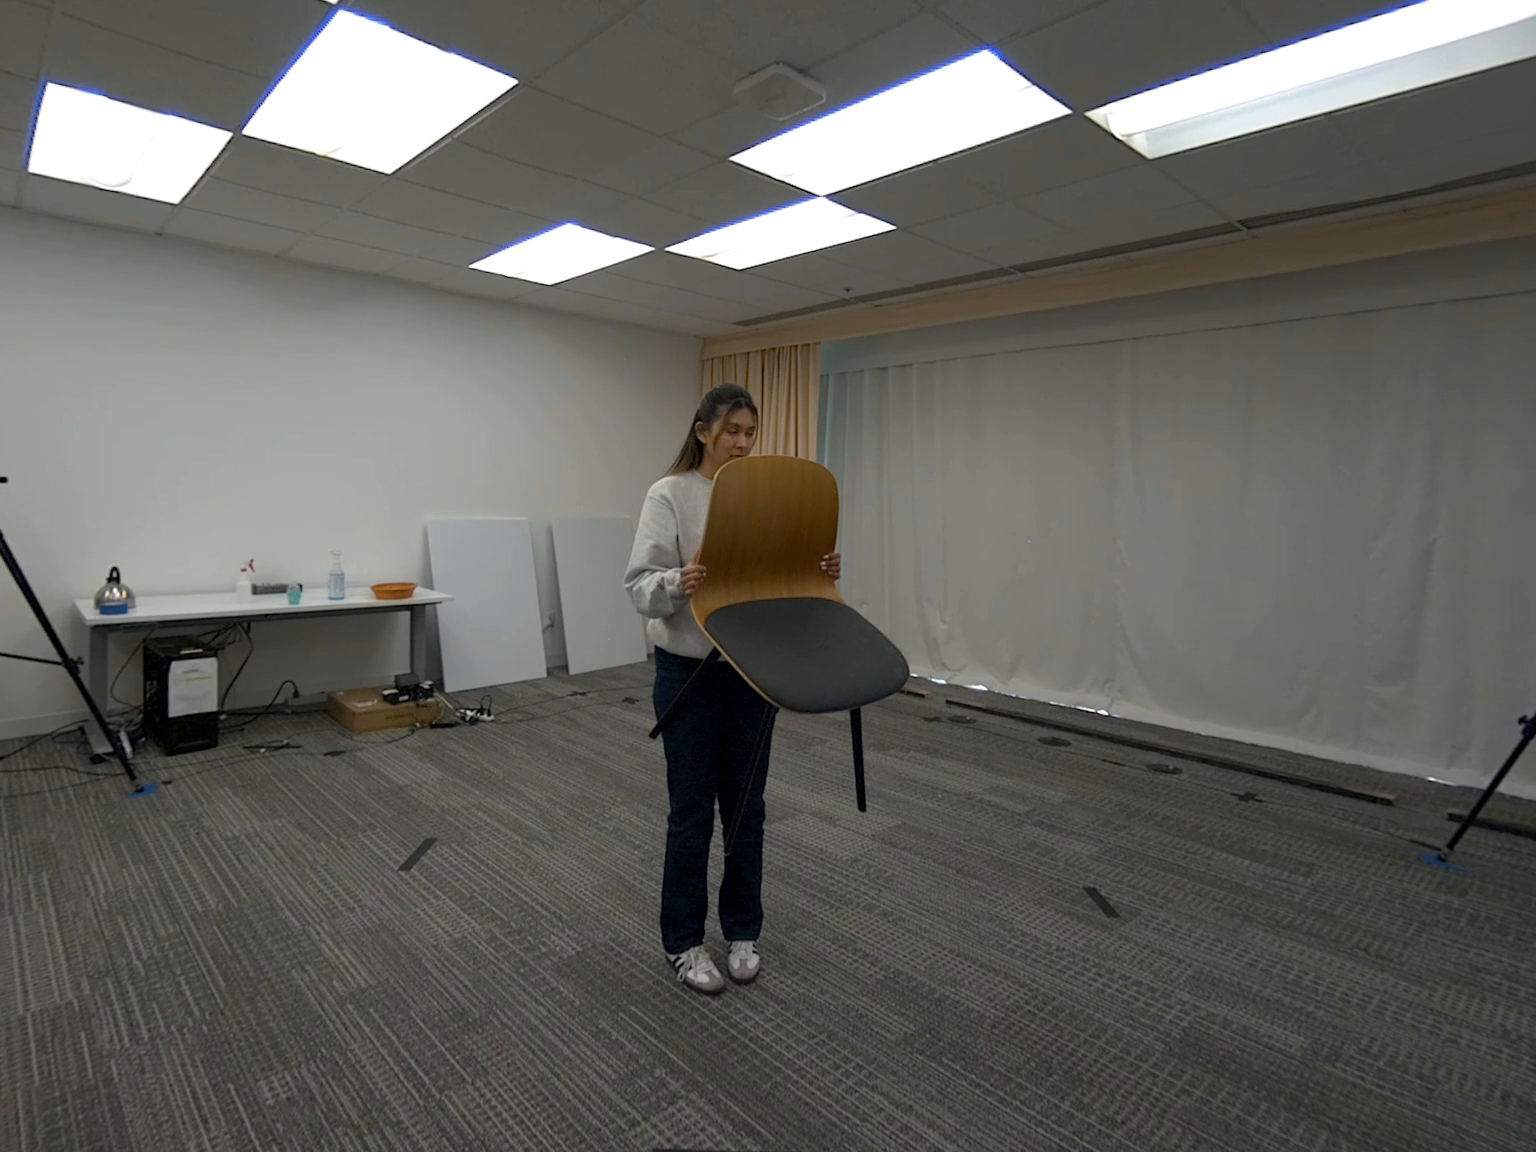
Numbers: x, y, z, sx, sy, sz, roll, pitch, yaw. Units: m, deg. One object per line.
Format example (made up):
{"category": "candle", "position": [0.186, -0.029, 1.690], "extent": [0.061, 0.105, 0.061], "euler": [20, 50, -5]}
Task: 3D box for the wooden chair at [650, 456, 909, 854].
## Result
{"category": "wooden chair", "position": [0.059, 0.193, 2.161], "extent": [0.468, 0.867, 0.540], "euler": [-4, 27, -34]}
